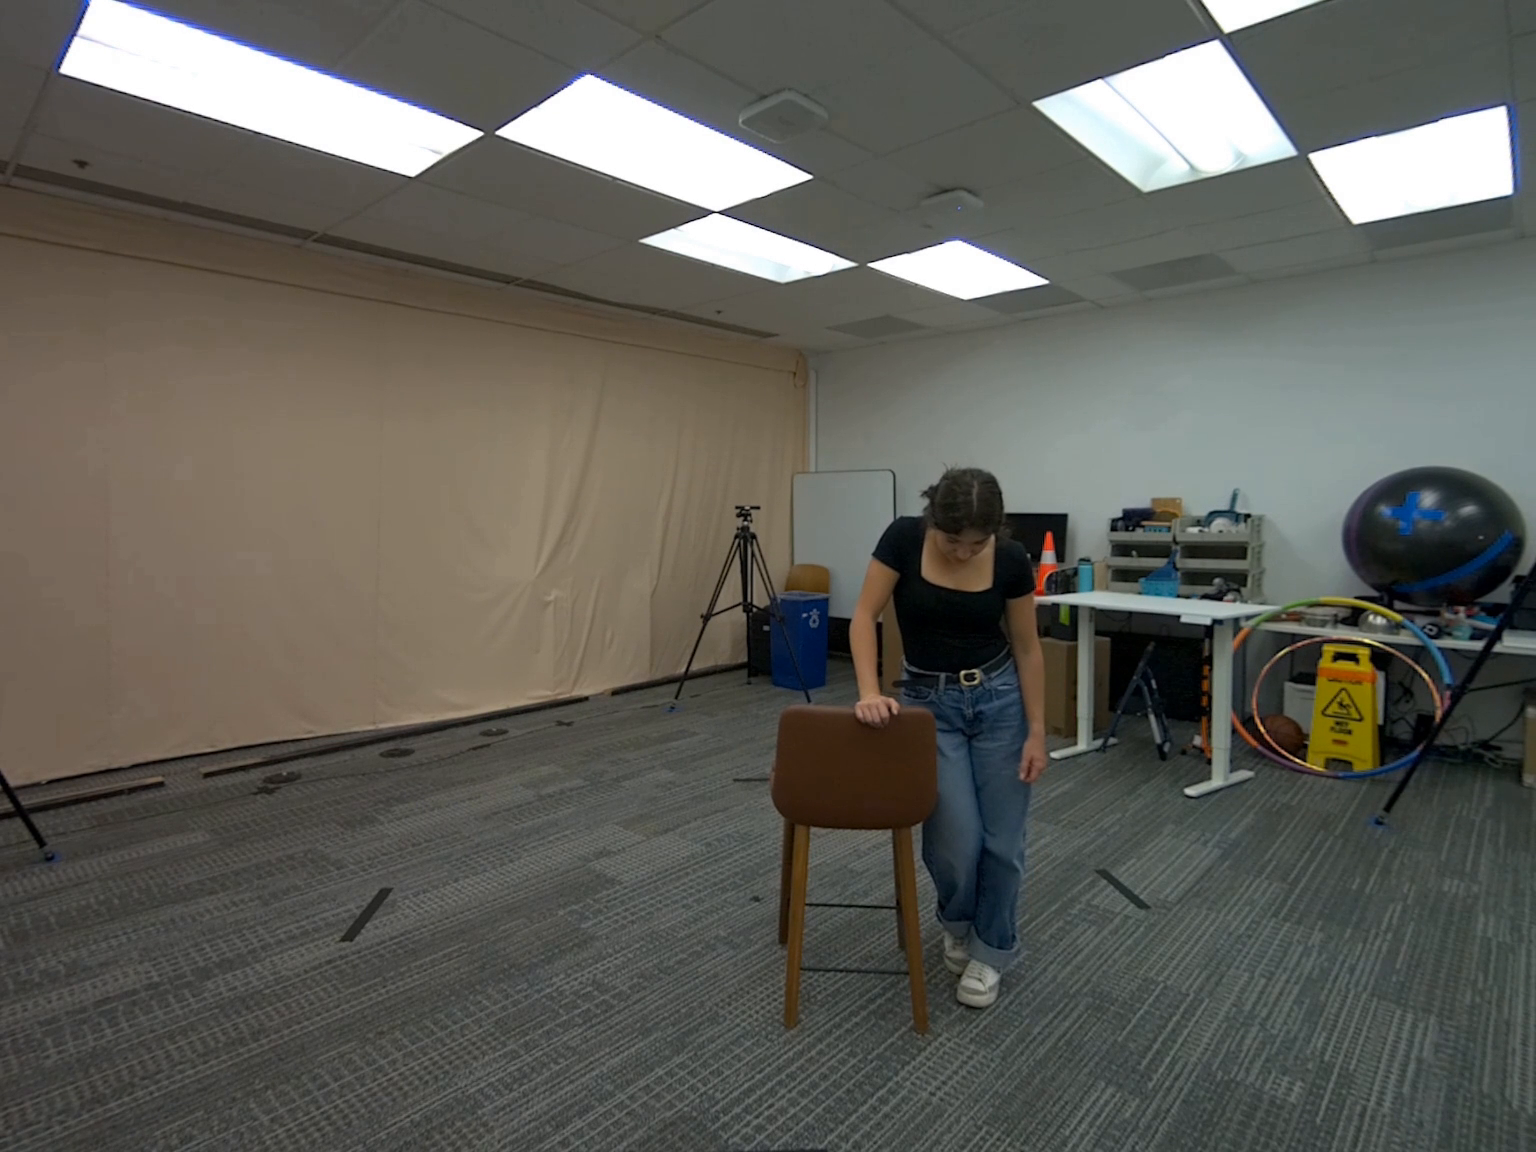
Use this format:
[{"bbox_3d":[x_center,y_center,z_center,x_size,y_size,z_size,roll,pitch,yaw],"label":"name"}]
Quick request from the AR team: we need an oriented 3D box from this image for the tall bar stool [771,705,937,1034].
[{"bbox_3d":[0.238,0.757,2.421,0.458,0.887,0.467,1,5,2],"label":"tall bar stool"}]
